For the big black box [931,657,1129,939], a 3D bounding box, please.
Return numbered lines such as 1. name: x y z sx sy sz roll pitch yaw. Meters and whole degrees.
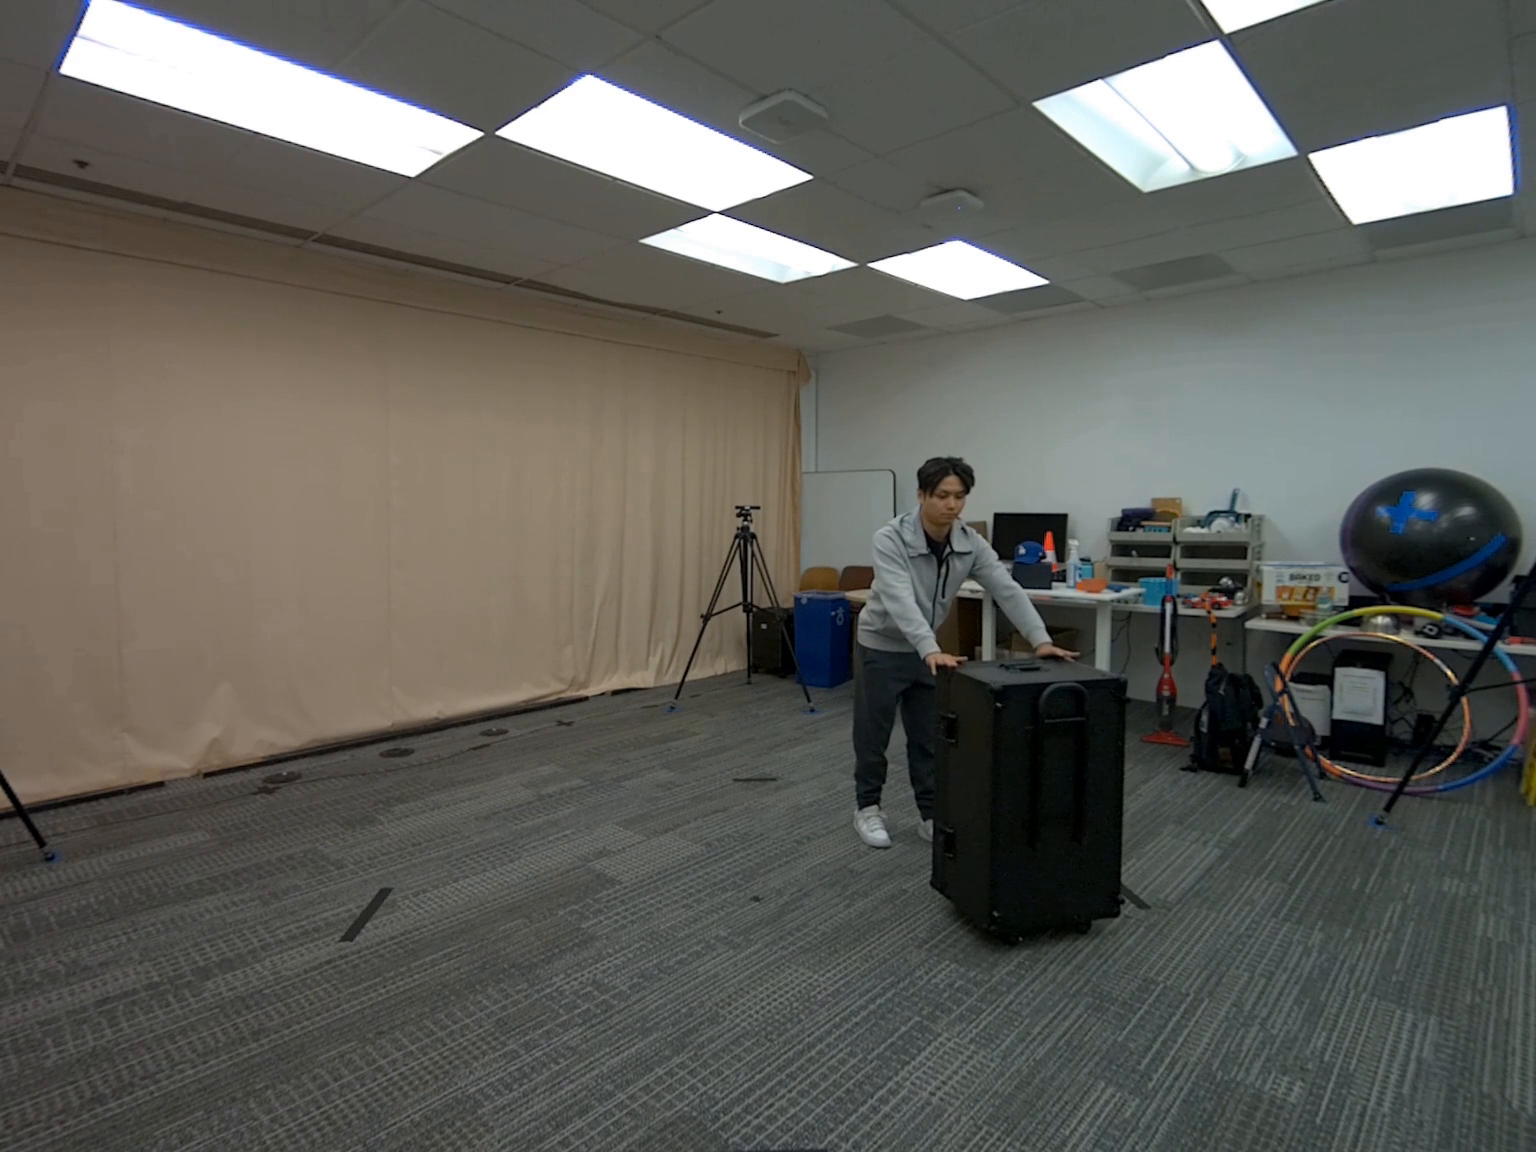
1. big black box: 0.860 0.732 2.787 0.513 0.859 0.404 0 5 -15
